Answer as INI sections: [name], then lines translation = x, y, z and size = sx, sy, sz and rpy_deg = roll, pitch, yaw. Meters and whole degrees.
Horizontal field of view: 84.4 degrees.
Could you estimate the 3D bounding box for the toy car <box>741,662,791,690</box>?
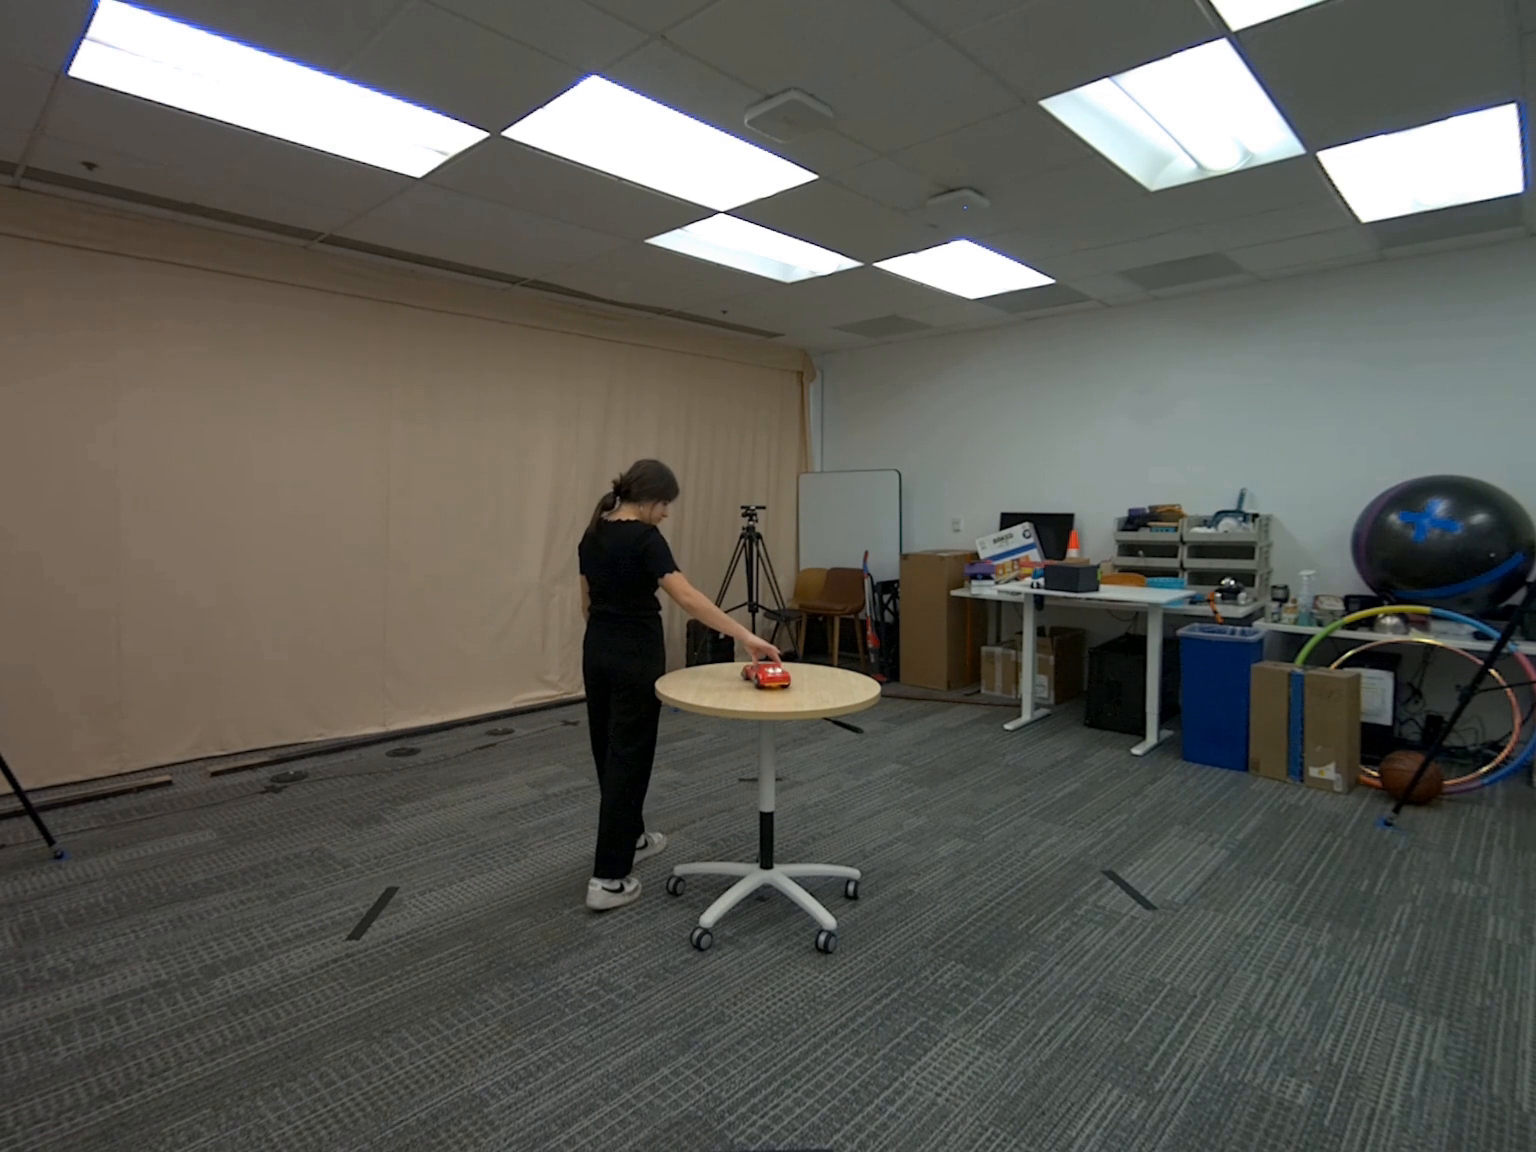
[toy car]
translation = 0.001, 0.340, 2.851
size = 0.128, 0.083, 0.257
rpy_deg = -1, -6, -16
